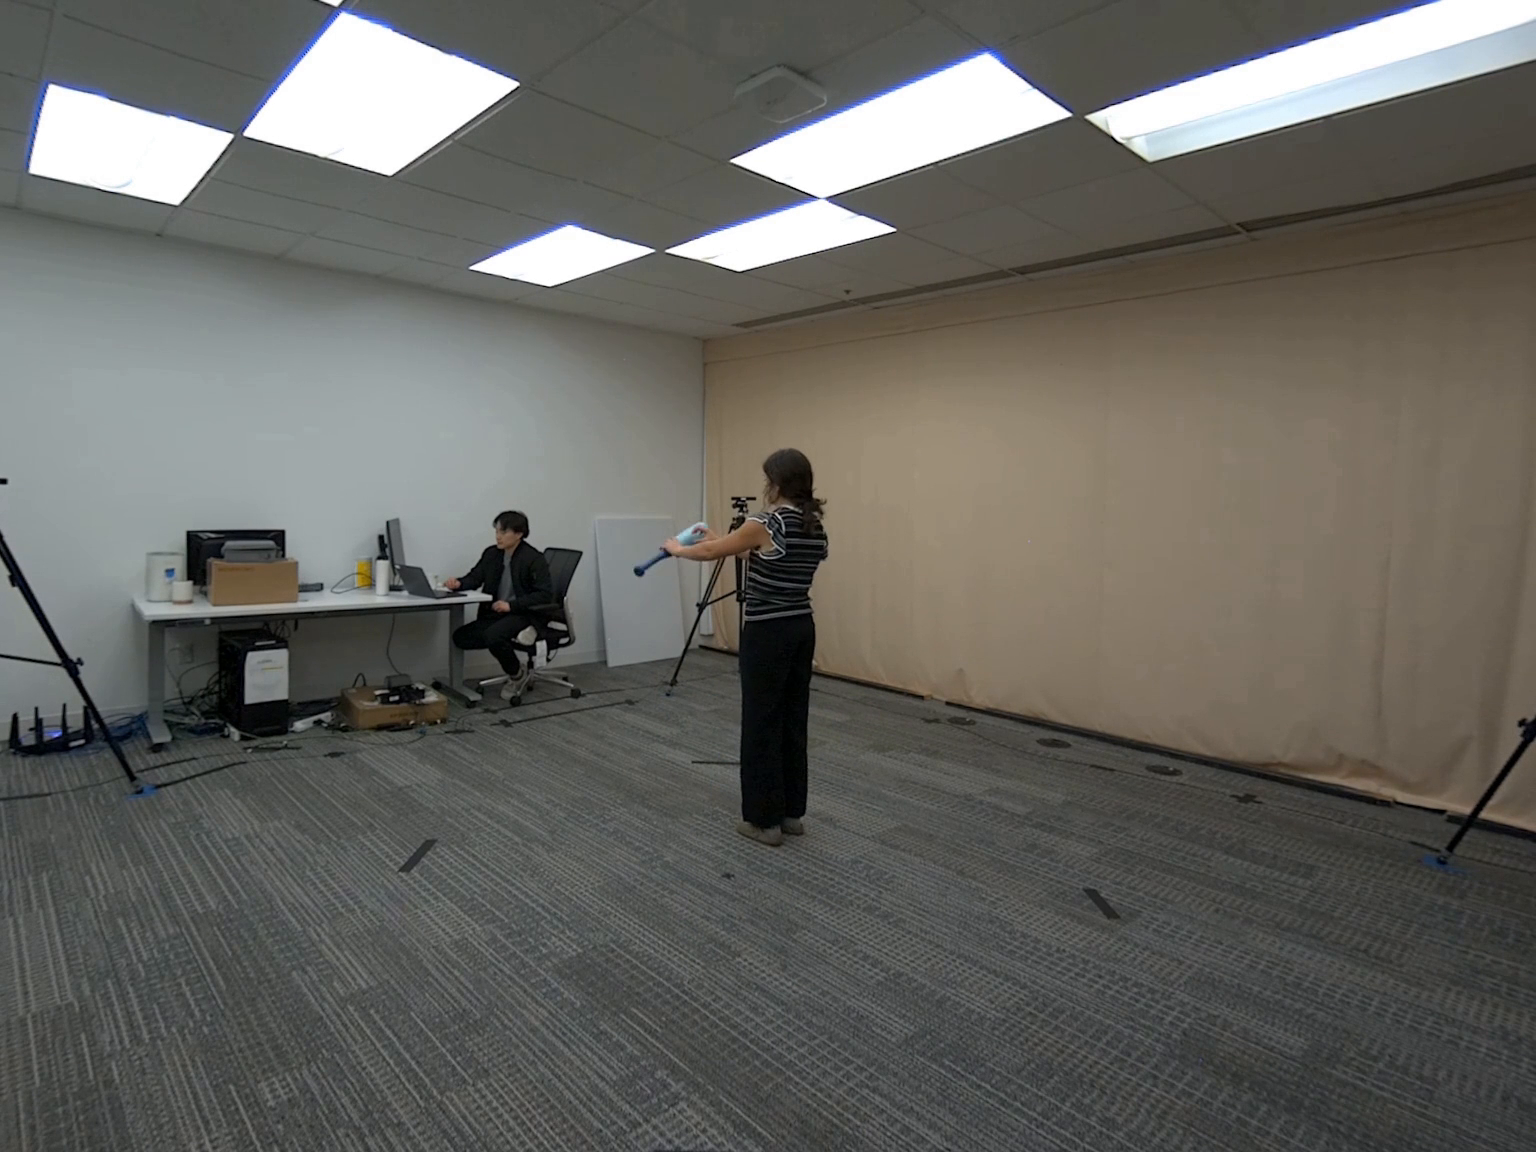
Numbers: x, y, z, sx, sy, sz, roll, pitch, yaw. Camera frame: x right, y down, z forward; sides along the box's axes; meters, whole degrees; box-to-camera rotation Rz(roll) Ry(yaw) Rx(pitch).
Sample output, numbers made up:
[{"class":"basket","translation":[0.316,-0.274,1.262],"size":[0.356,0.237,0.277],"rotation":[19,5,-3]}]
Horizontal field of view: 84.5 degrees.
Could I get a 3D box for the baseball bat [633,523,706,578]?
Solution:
[{"class":"baseball bat","translation":[-0.422,-0.110,3.742],"size":[0.091,0.087,0.541],"rotation":[3,24,25]}]
